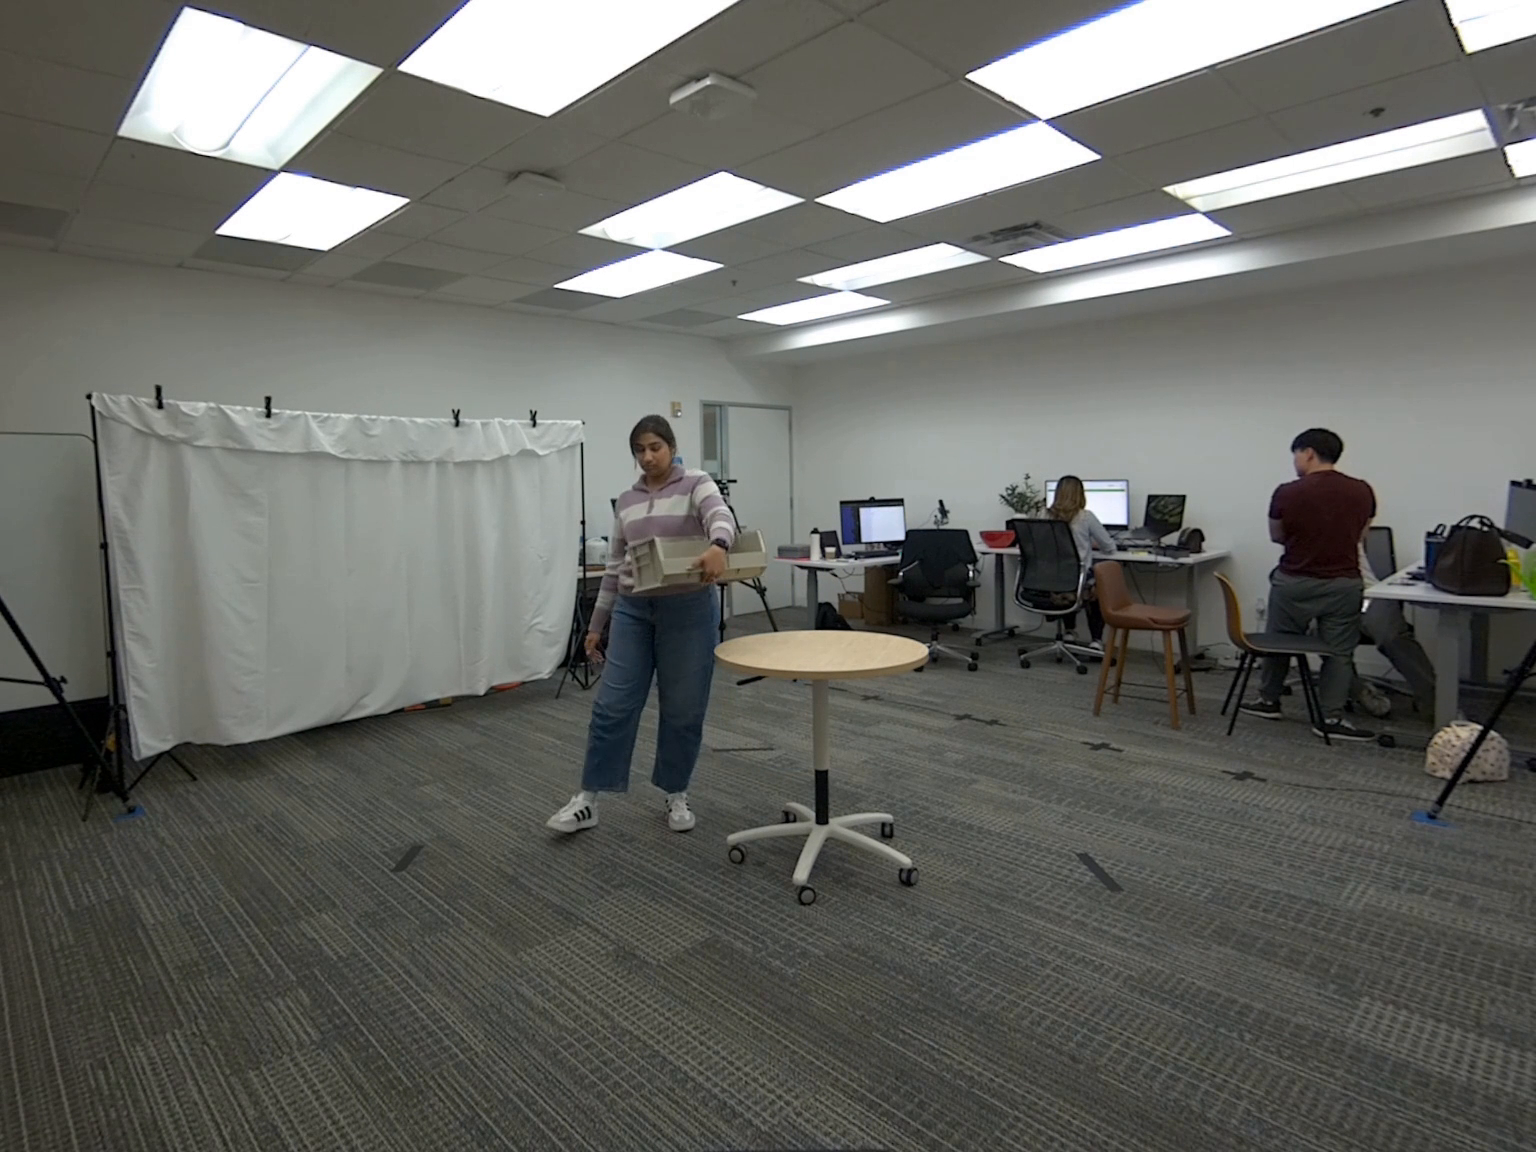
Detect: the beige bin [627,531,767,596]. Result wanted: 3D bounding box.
[{"bbox_3d":[-0.269,-0.055,3.182,0.414,0.190,0.383,-7,-3,-25],"label":"beige bin"}]
